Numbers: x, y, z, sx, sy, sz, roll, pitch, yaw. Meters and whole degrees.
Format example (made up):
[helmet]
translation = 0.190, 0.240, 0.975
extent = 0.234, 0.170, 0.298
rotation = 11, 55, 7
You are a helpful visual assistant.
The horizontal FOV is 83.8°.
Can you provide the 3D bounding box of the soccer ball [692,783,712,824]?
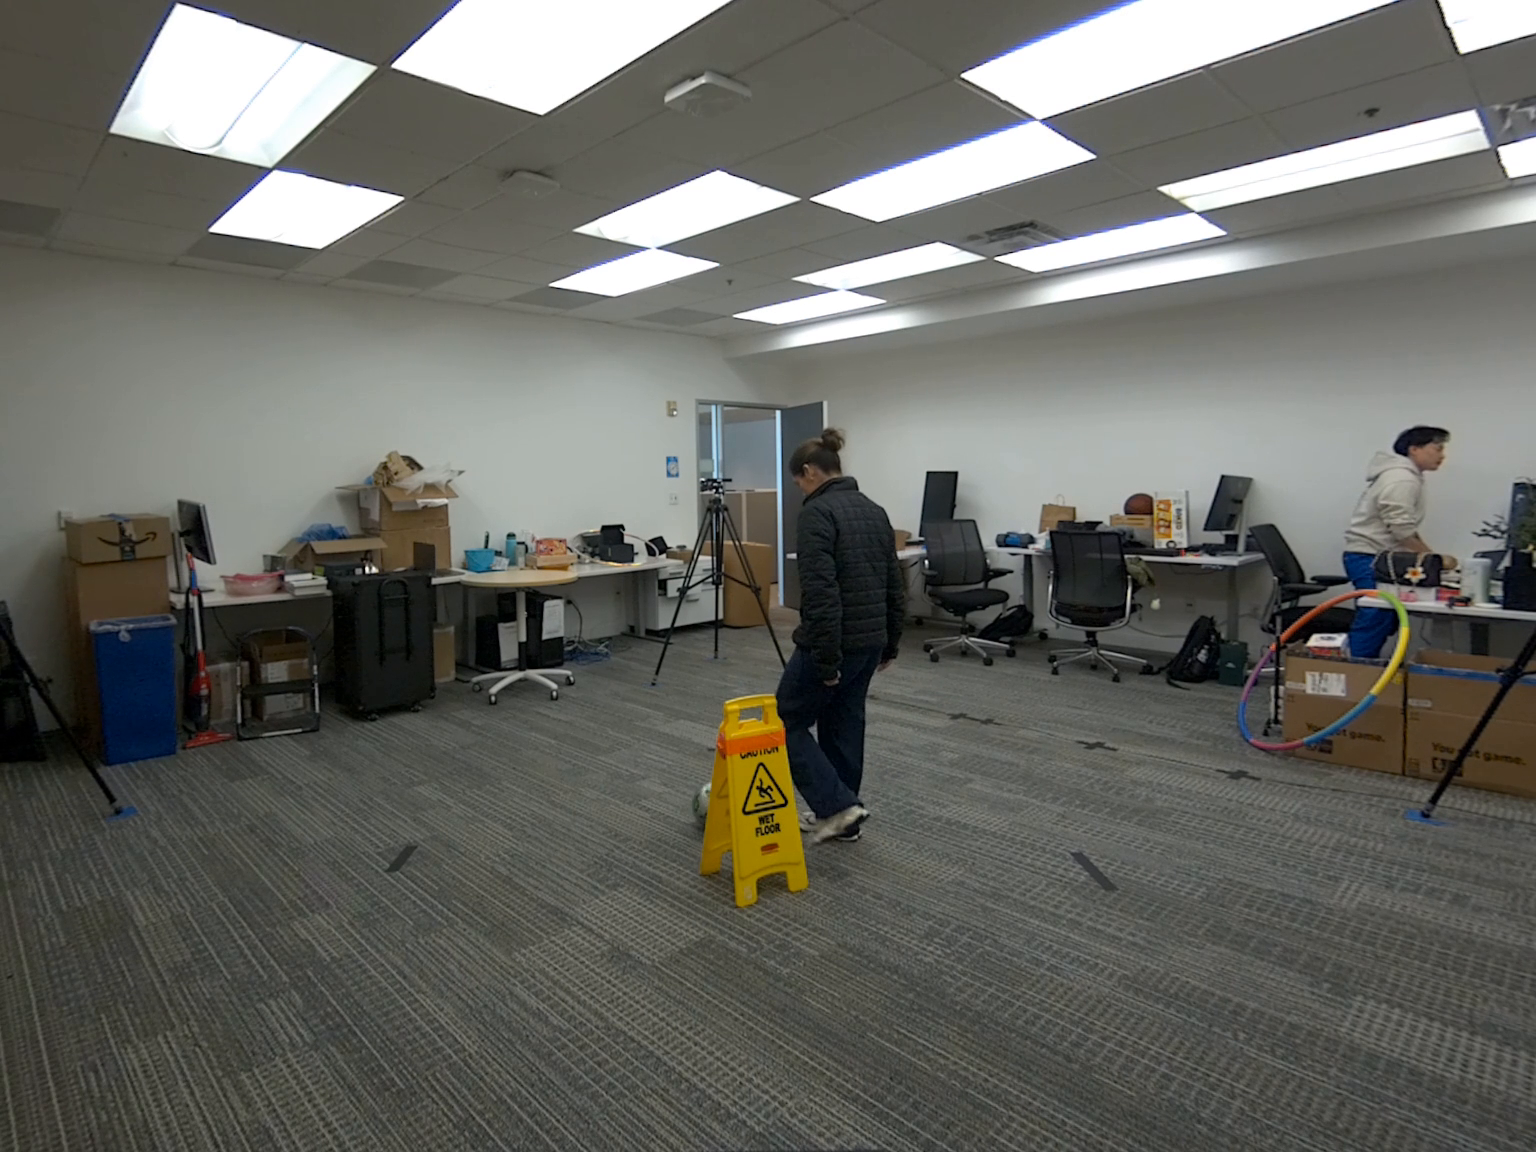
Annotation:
[soccer ball]
translation = -0.199, 0.911, 3.420
extent = 0.187, 0.187, 0.188
rotation = -1, 5, -2
